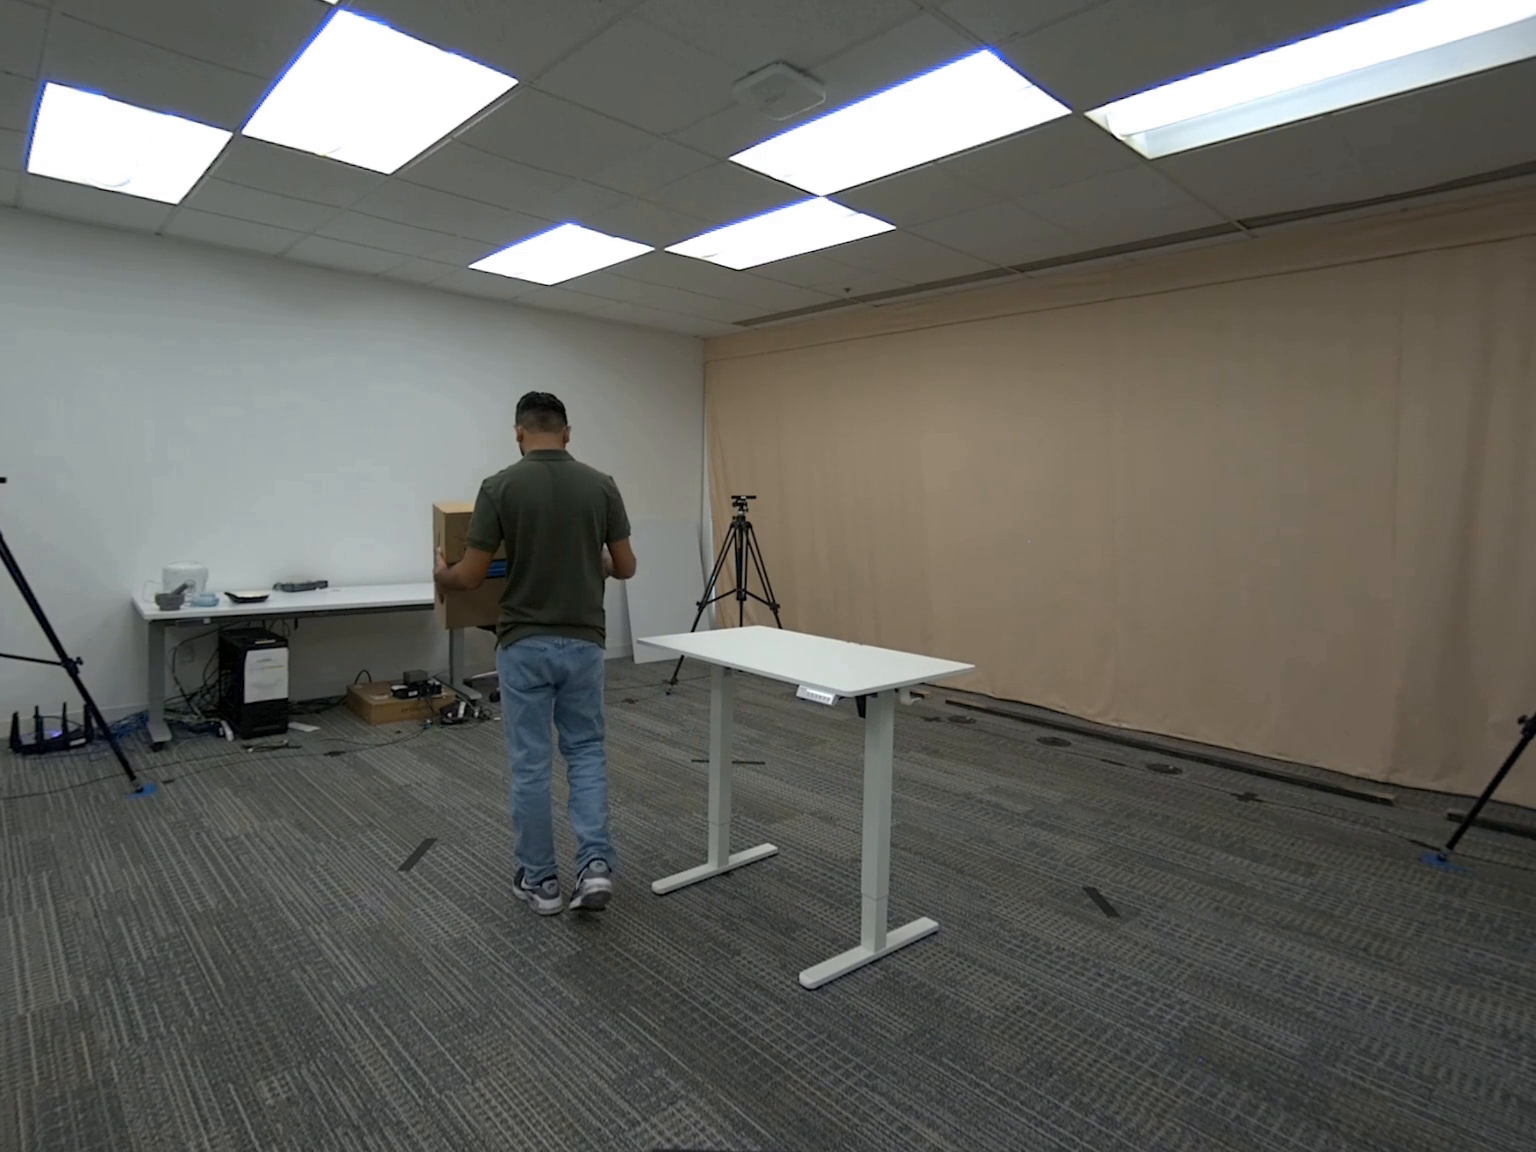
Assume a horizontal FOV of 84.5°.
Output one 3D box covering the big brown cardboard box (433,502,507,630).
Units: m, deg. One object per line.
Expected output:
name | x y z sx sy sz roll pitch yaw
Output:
big brown cardboard box | -0.909 -0.057 3.092 0.578 0.414 0.239 -5 14 -28
